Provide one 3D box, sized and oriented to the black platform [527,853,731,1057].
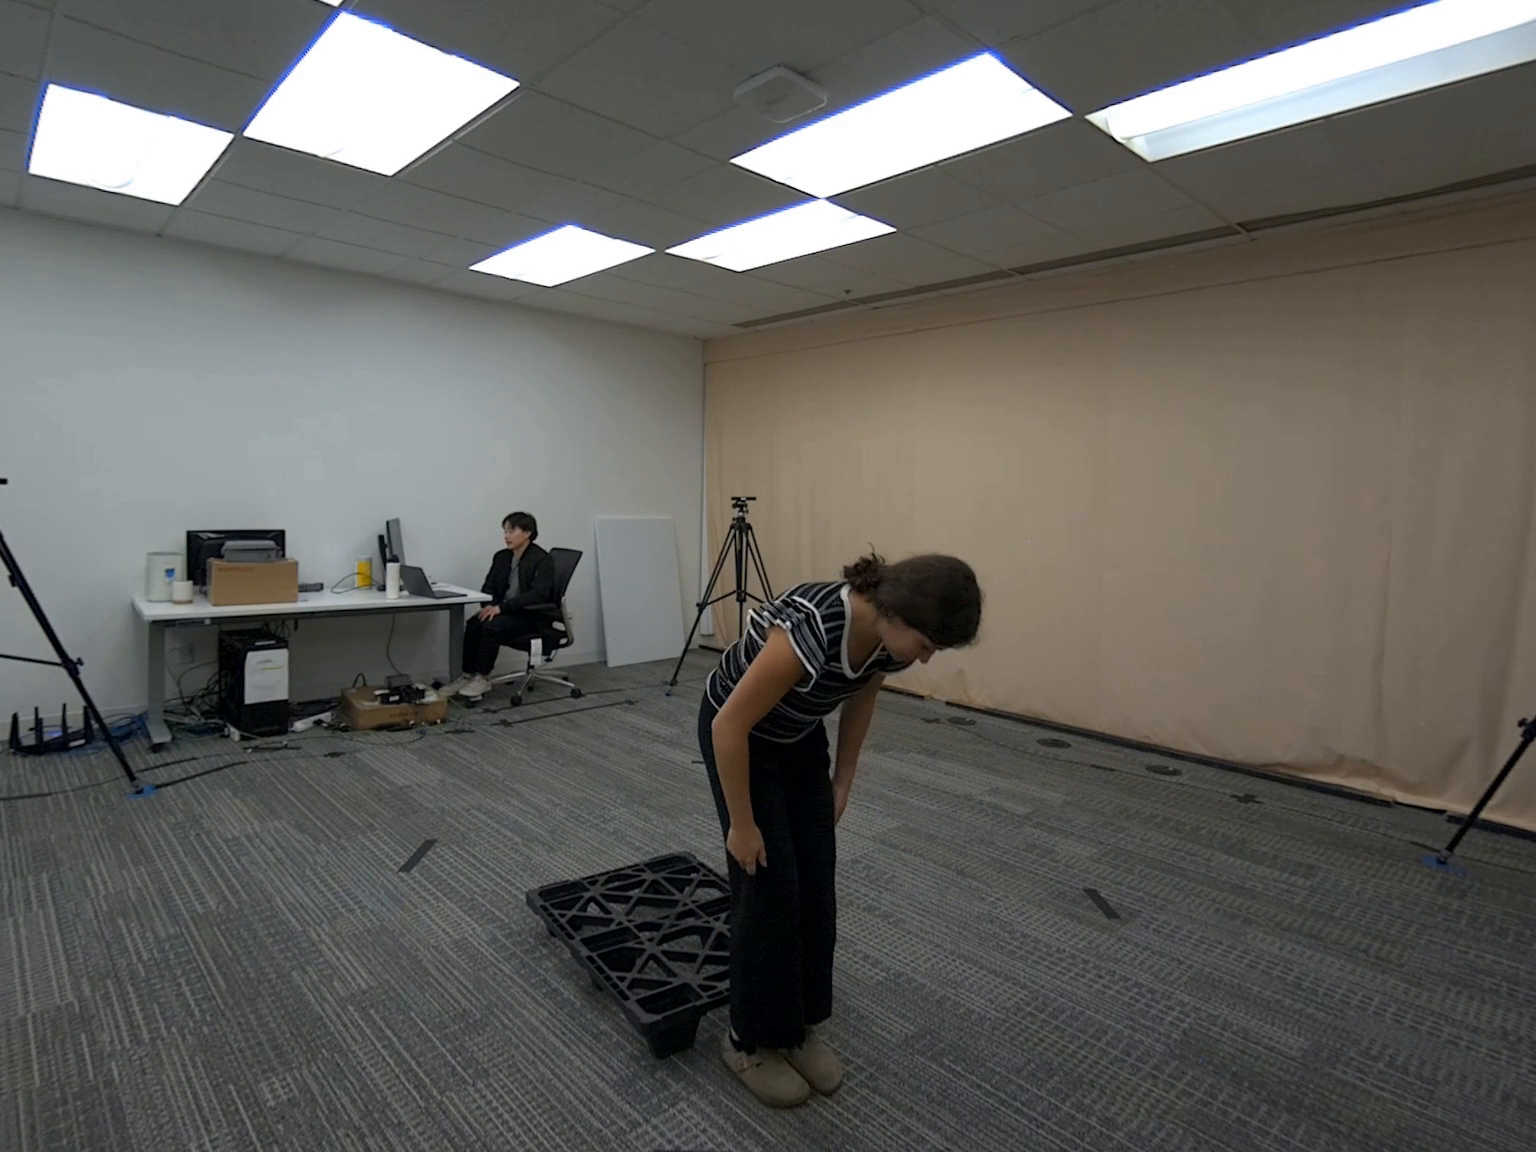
[{"bbox_3d":[-0.306,1.093,2.502,0.592,0.143,0.825,-4,7,-35],"label":"black platform"}]
